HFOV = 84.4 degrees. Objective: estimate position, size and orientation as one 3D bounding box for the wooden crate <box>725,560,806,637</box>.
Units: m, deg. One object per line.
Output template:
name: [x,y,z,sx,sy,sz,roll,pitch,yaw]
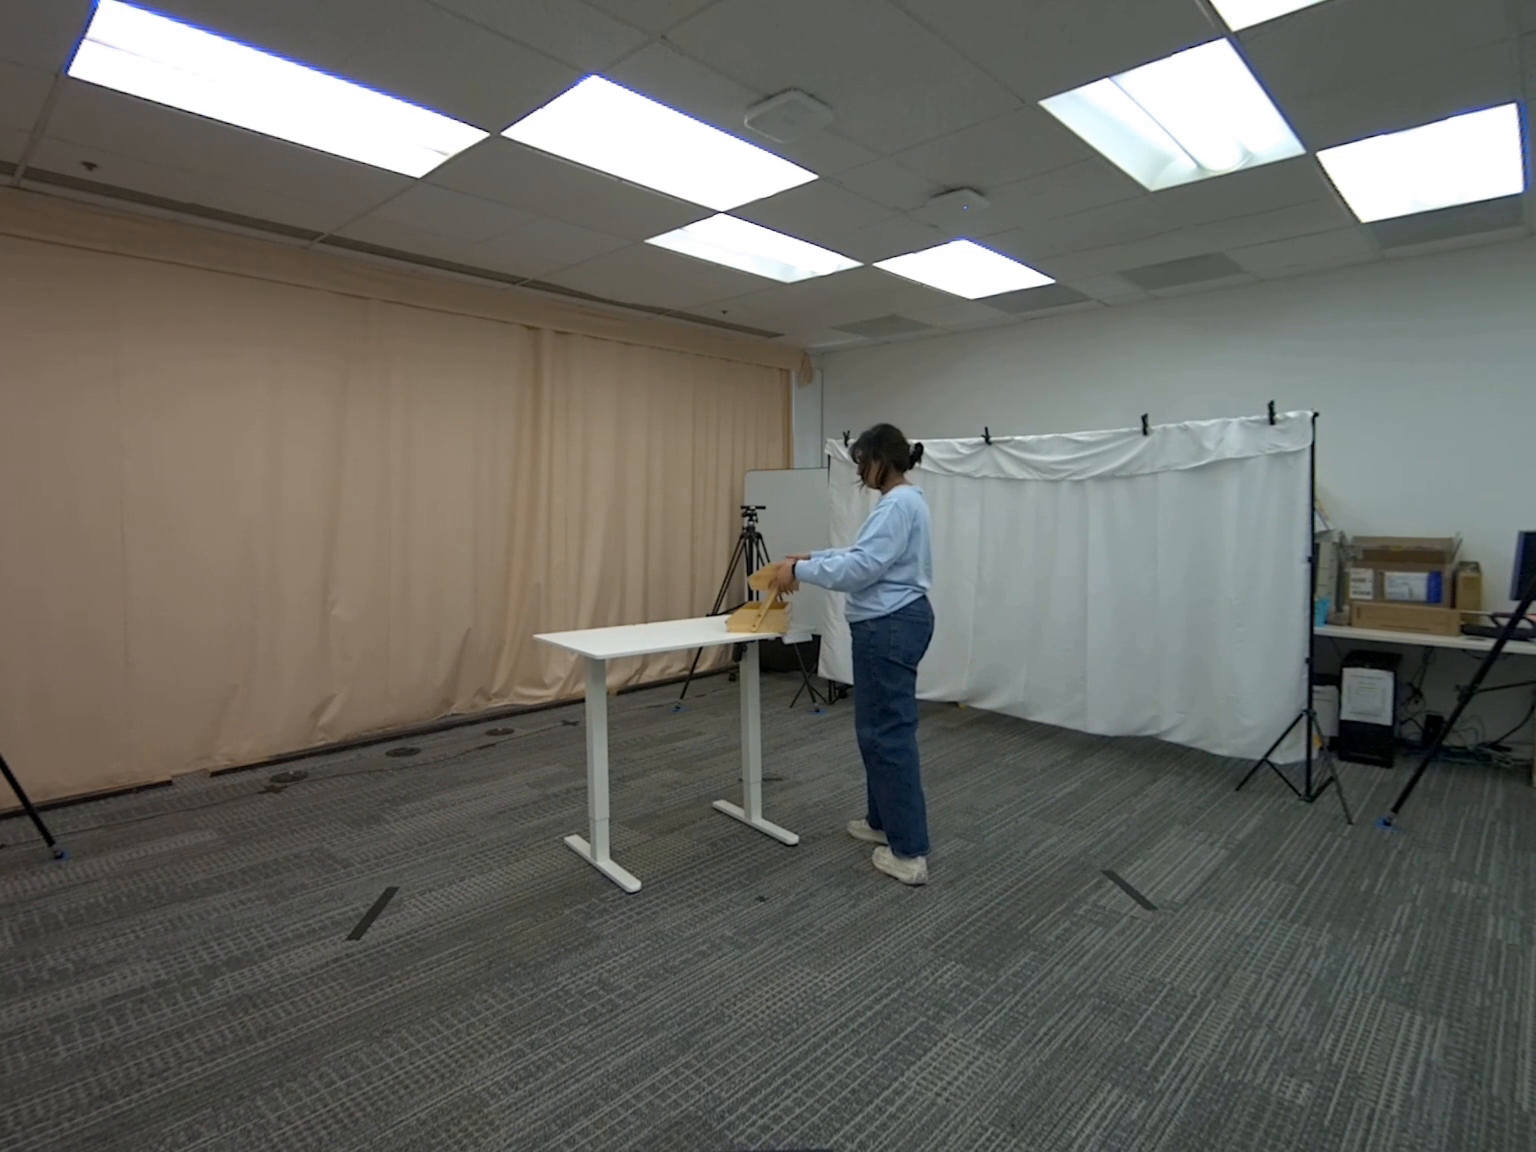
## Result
wooden crate: [-0.008,0.082,3.508,0.304,0.273,0.322,1,4,6]
